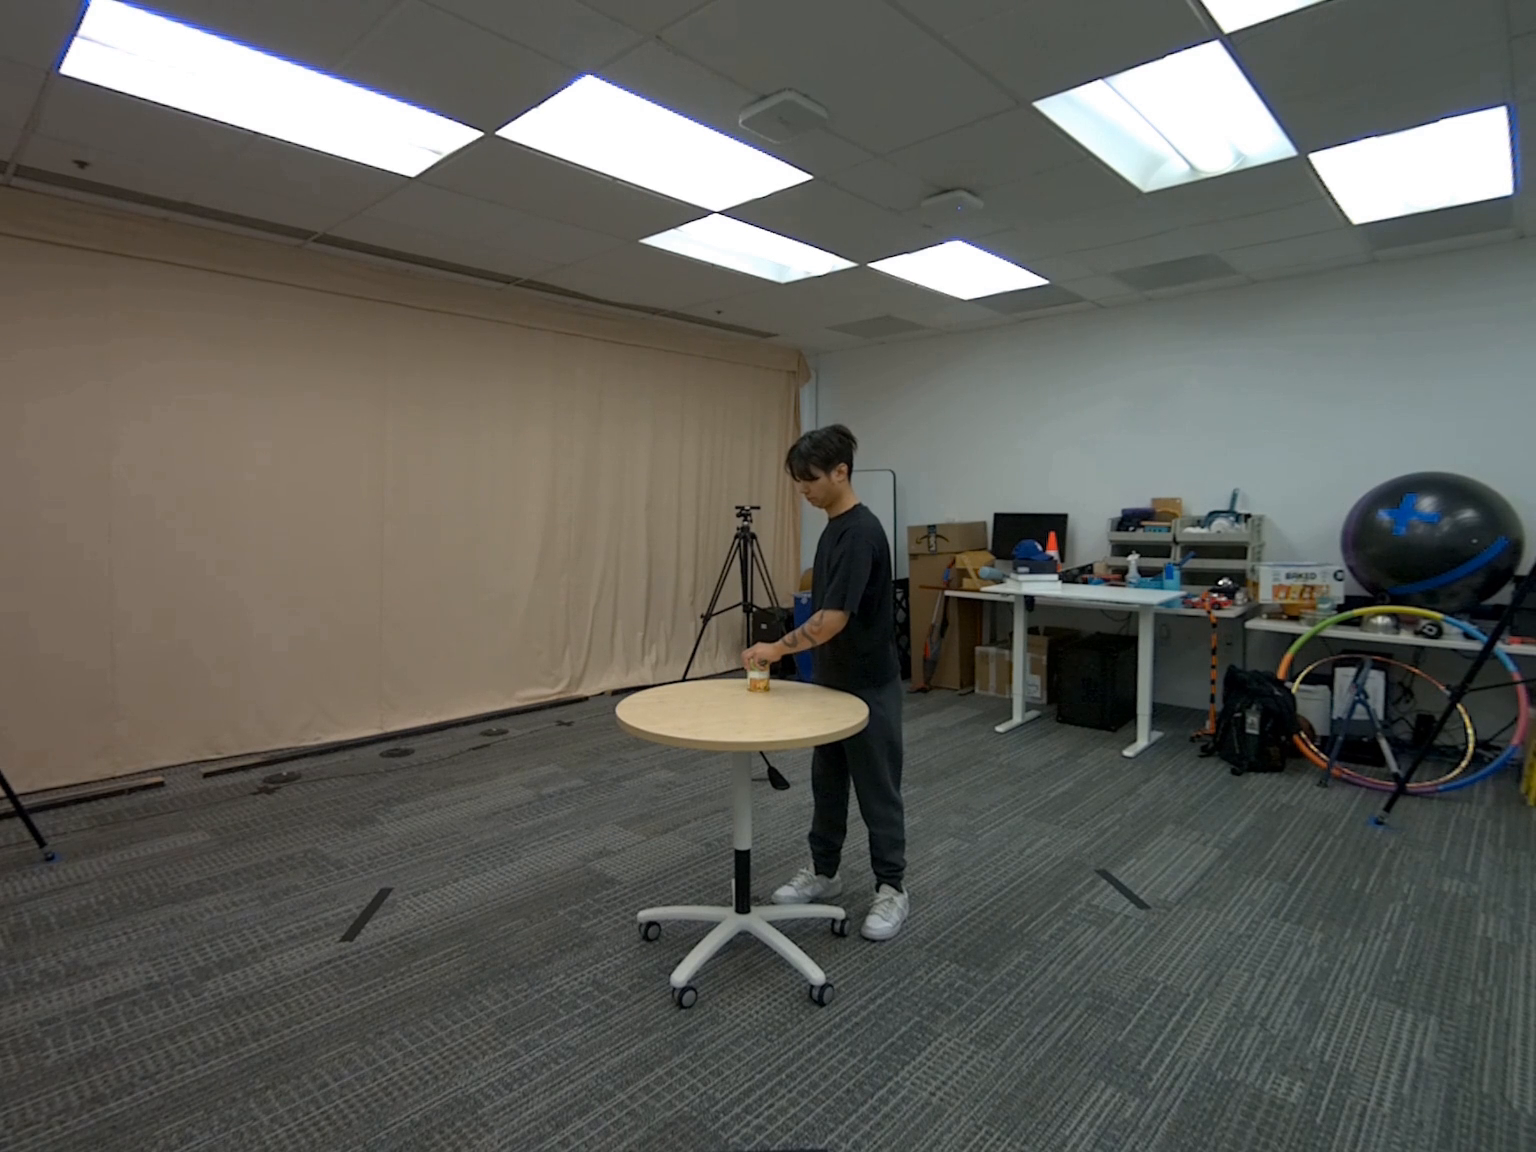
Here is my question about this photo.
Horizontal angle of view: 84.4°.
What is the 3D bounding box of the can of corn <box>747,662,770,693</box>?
[{"bbox_3d":[-0.026,0.324,2.777,0.074,0.111,0.074,2,3,-2],"label":"can of corn"}]
